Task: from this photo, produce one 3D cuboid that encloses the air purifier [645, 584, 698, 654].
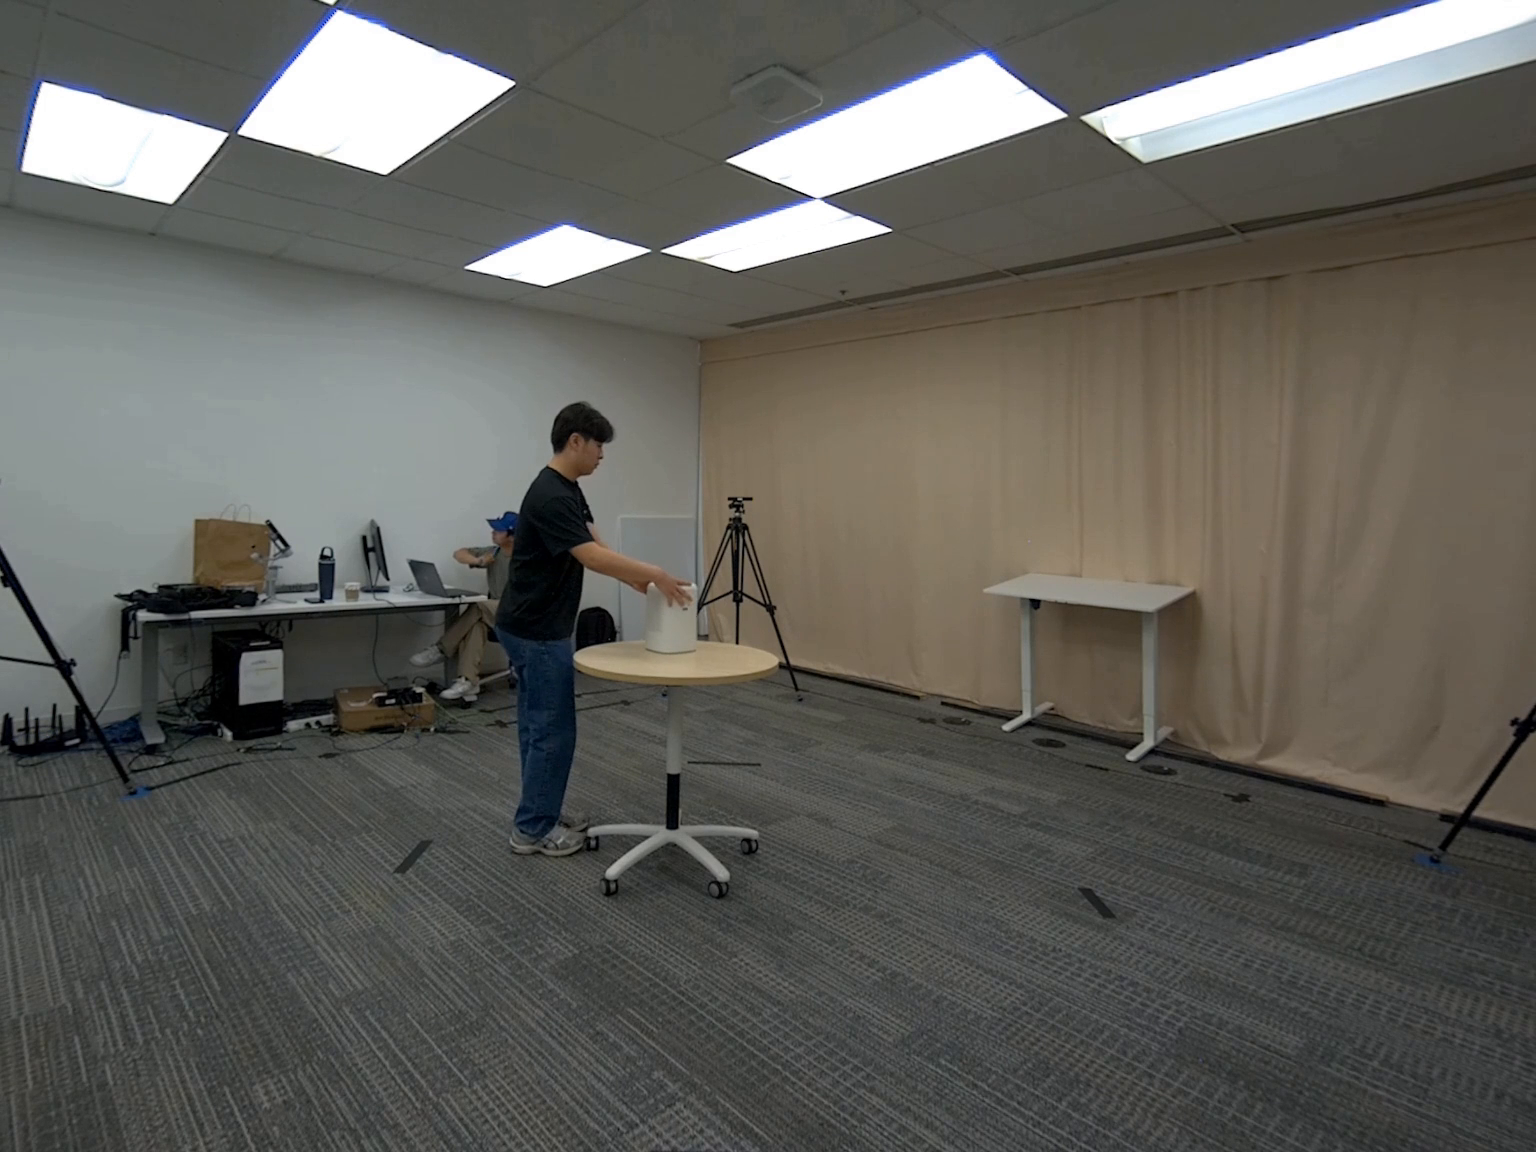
[{"bbox_3d":[-0.386,0.155,3.293,0.167,0.265,0.176,0,4,-41],"label":"air purifier"}]
